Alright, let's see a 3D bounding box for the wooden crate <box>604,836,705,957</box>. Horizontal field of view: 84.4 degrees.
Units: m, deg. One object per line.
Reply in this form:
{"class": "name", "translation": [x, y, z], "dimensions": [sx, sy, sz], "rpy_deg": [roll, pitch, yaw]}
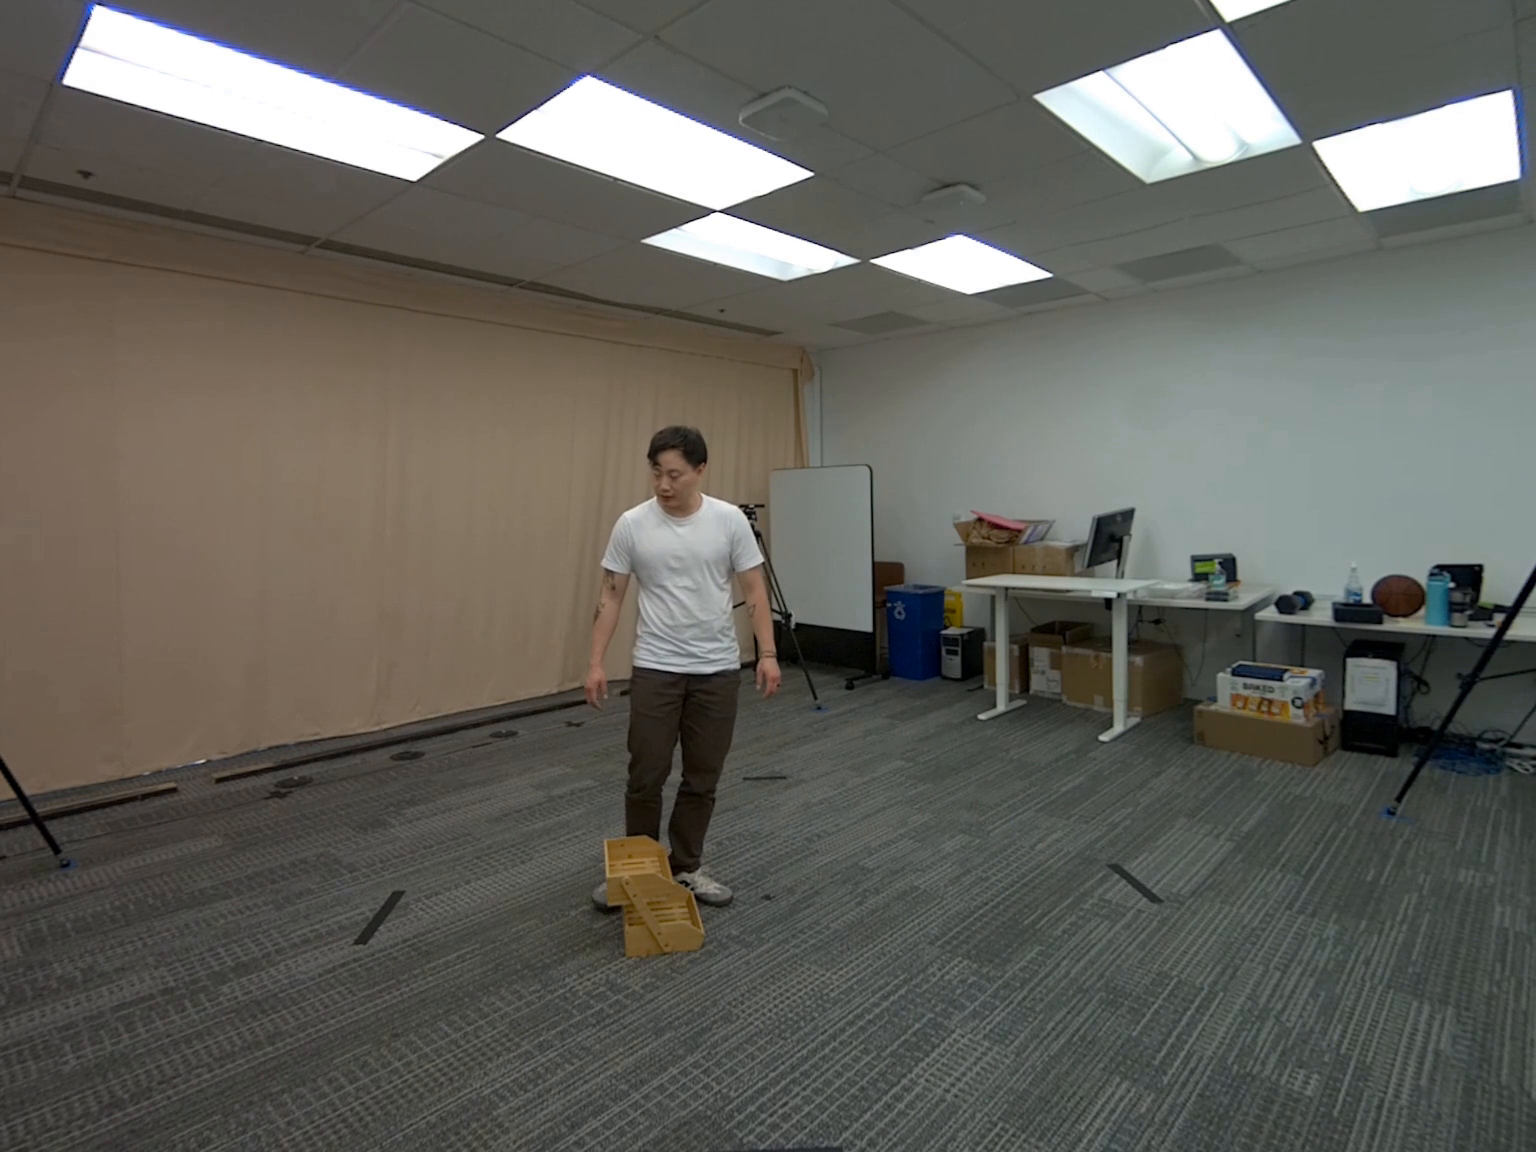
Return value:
{"class": "wooden crate", "translation": [-0.367, 1.027, 2.752], "dimensions": [0.298, 0.273, 0.329], "rpy_deg": [-3, 4, -12]}
